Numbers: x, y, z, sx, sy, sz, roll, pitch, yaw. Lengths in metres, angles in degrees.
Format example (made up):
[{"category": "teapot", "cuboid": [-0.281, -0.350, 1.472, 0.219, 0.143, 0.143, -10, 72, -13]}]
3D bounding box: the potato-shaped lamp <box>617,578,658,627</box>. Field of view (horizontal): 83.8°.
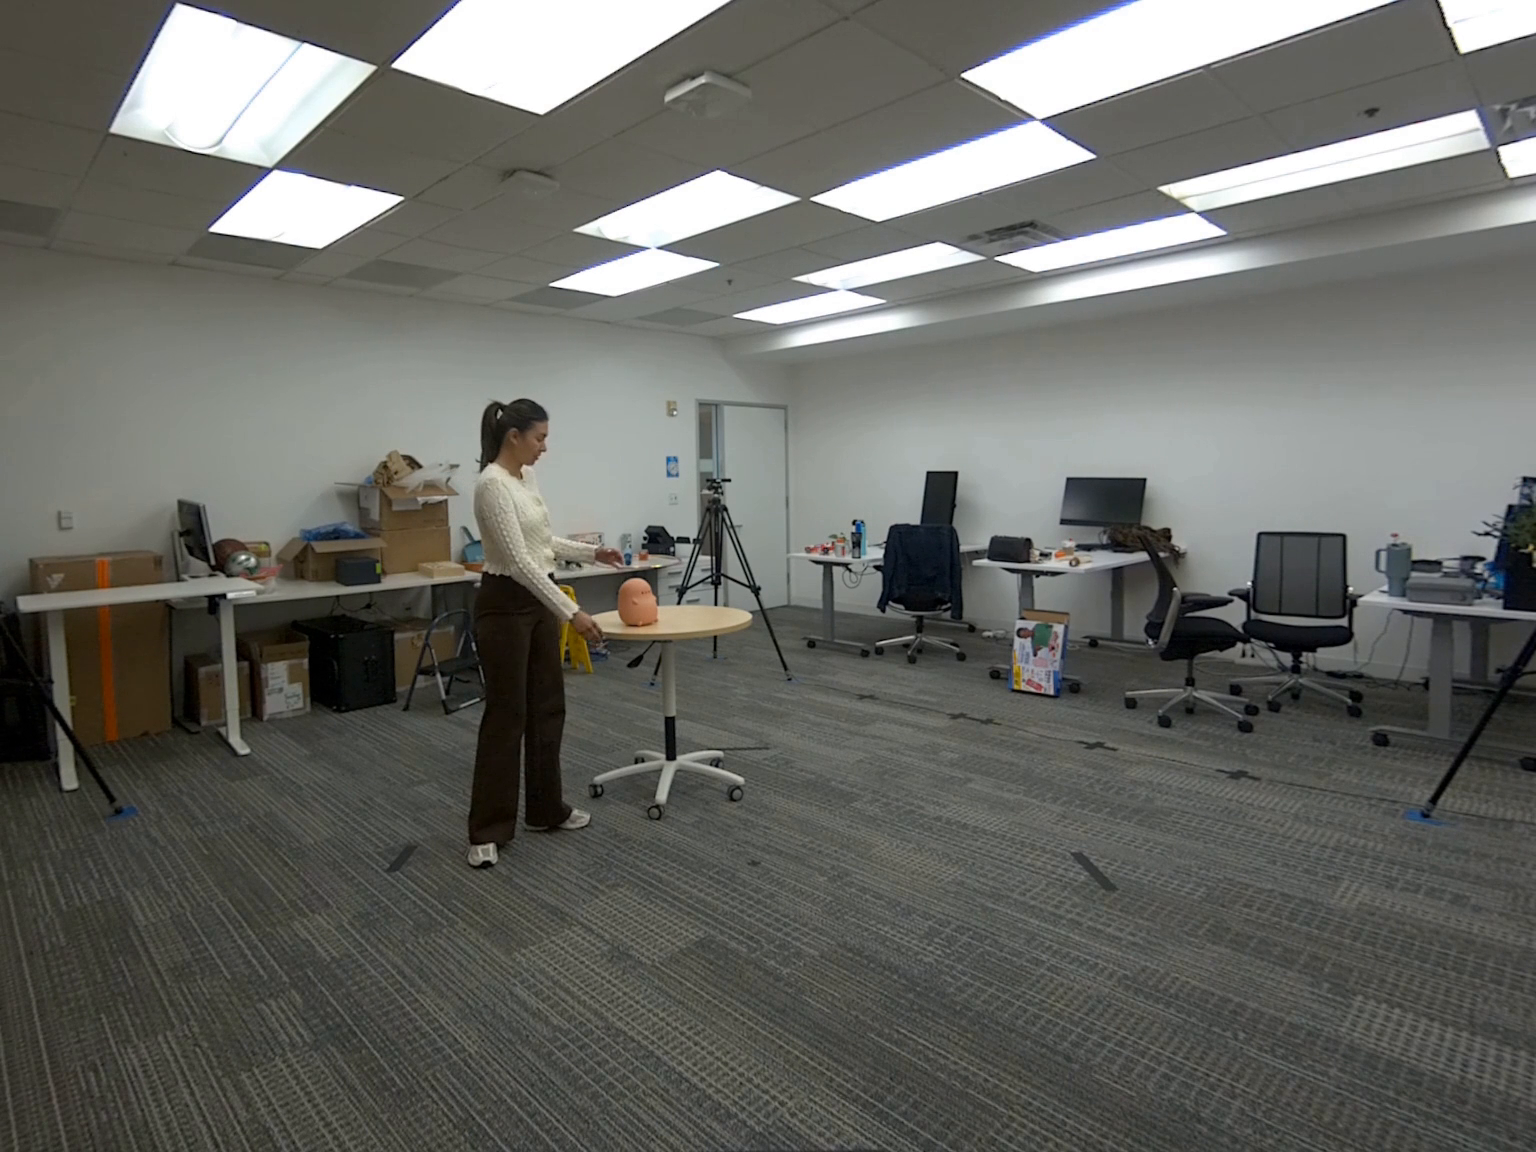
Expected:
[{"category": "potato-shaped lamp", "cuboid": [-0.561, 0.109, 3.680, 0.176, 0.197, 0.161, 0, 8, 41]}]
